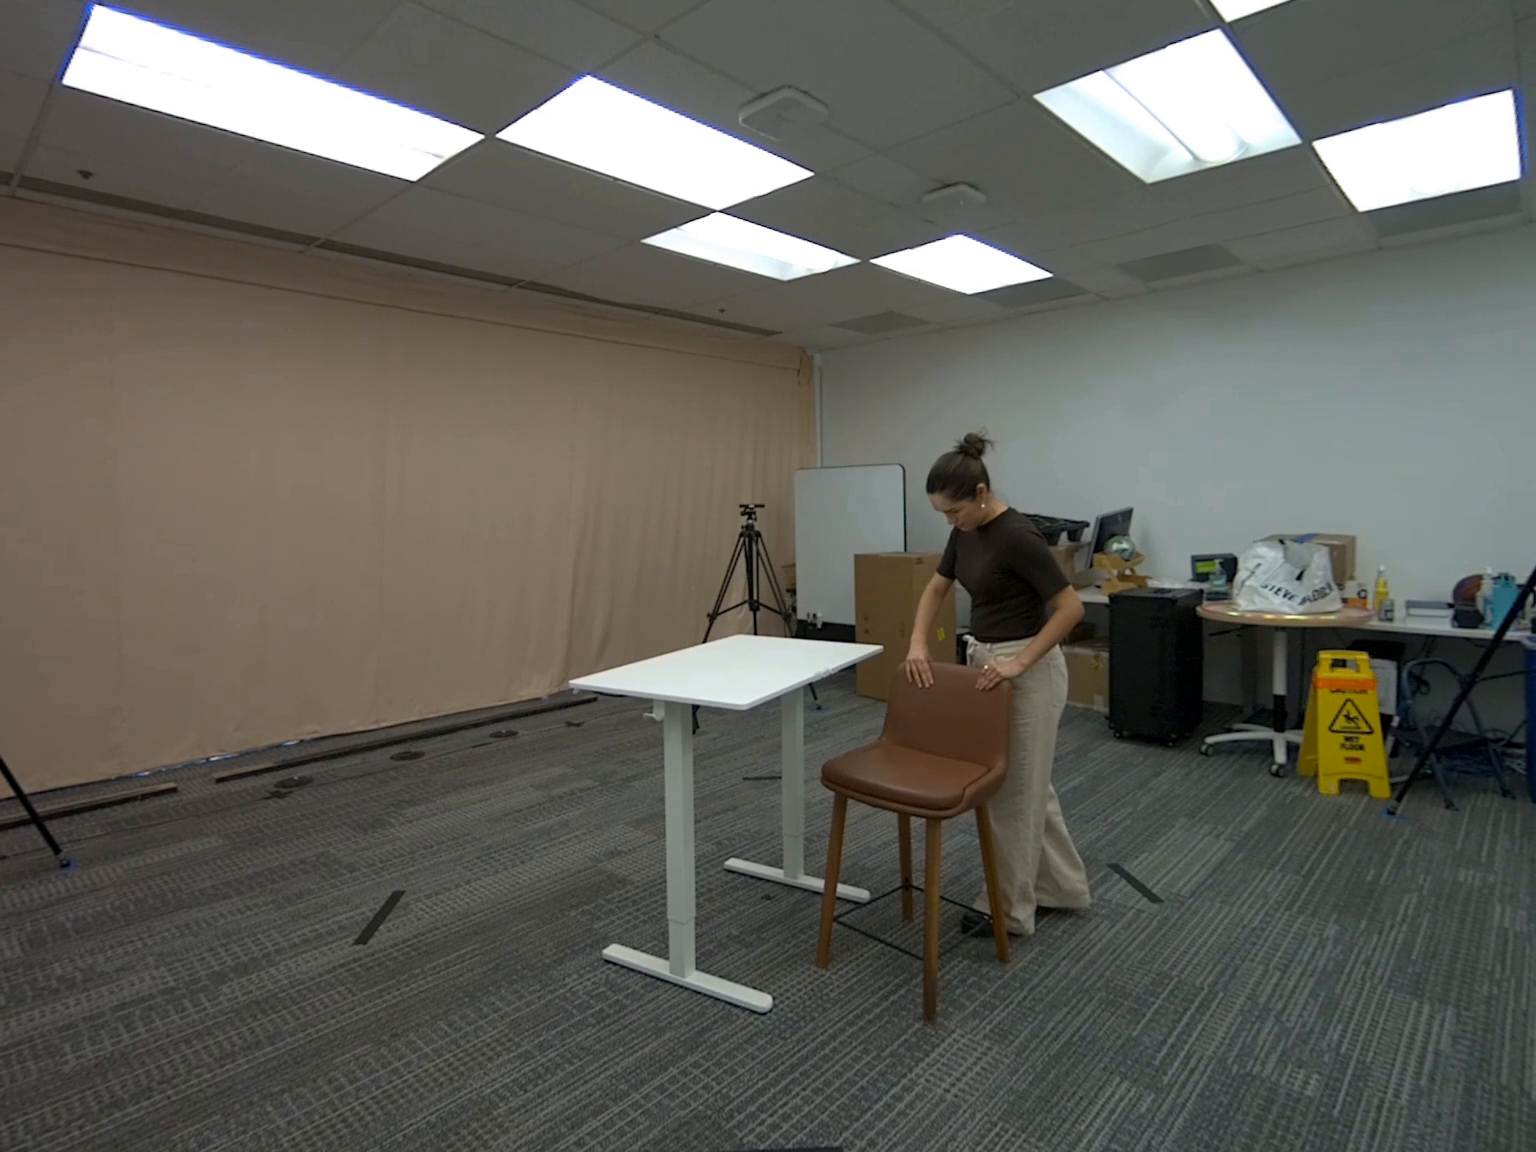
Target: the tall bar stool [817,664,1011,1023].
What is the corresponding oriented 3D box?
[{"bbox_3d":[0.451,0.735,2.519,0.453,0.888,0.472,-2,3,-44],"label":"tall bar stool"}]
